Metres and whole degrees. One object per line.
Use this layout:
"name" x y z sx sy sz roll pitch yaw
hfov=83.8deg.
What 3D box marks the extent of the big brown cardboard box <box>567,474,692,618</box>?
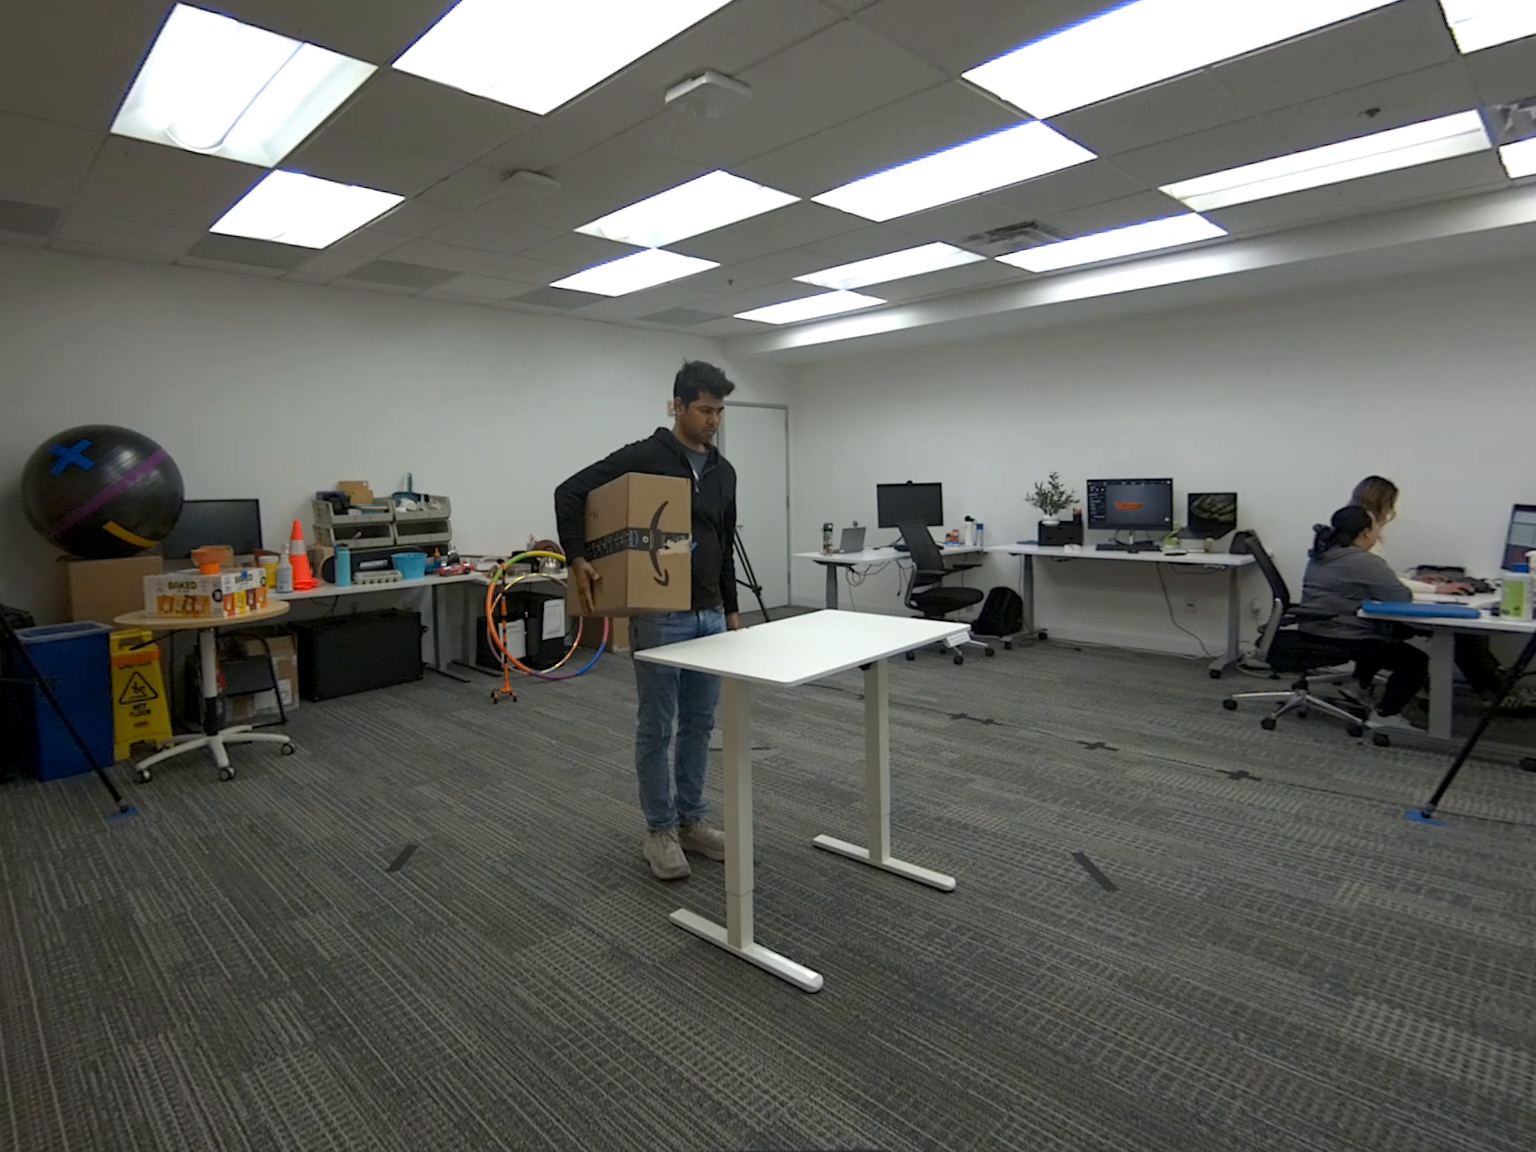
"big brown cardboard box" -0.469 -0.079 2.882 0.227 0.420 0.600 3 -7 -29
